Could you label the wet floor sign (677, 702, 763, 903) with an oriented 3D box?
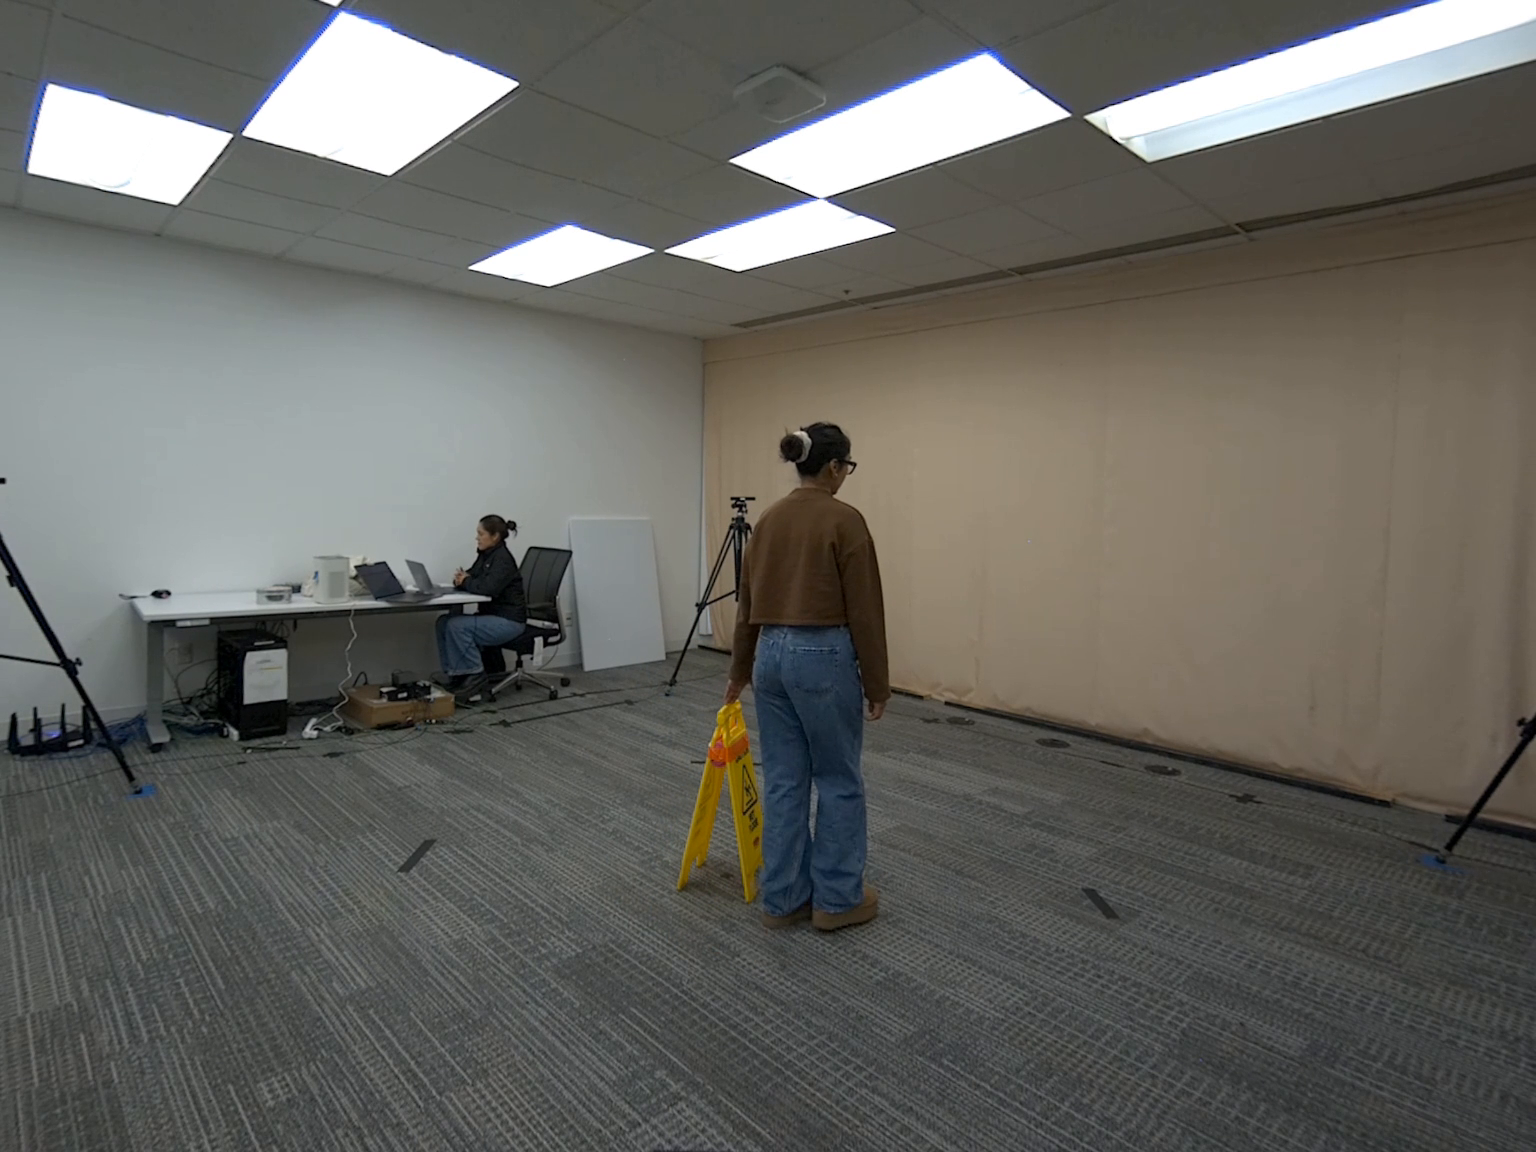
[{"bbox_3d":[-0.150,0.789,3.043,0.294,0.644,0.279,3,4,16],"label":"wet floor sign"}]
